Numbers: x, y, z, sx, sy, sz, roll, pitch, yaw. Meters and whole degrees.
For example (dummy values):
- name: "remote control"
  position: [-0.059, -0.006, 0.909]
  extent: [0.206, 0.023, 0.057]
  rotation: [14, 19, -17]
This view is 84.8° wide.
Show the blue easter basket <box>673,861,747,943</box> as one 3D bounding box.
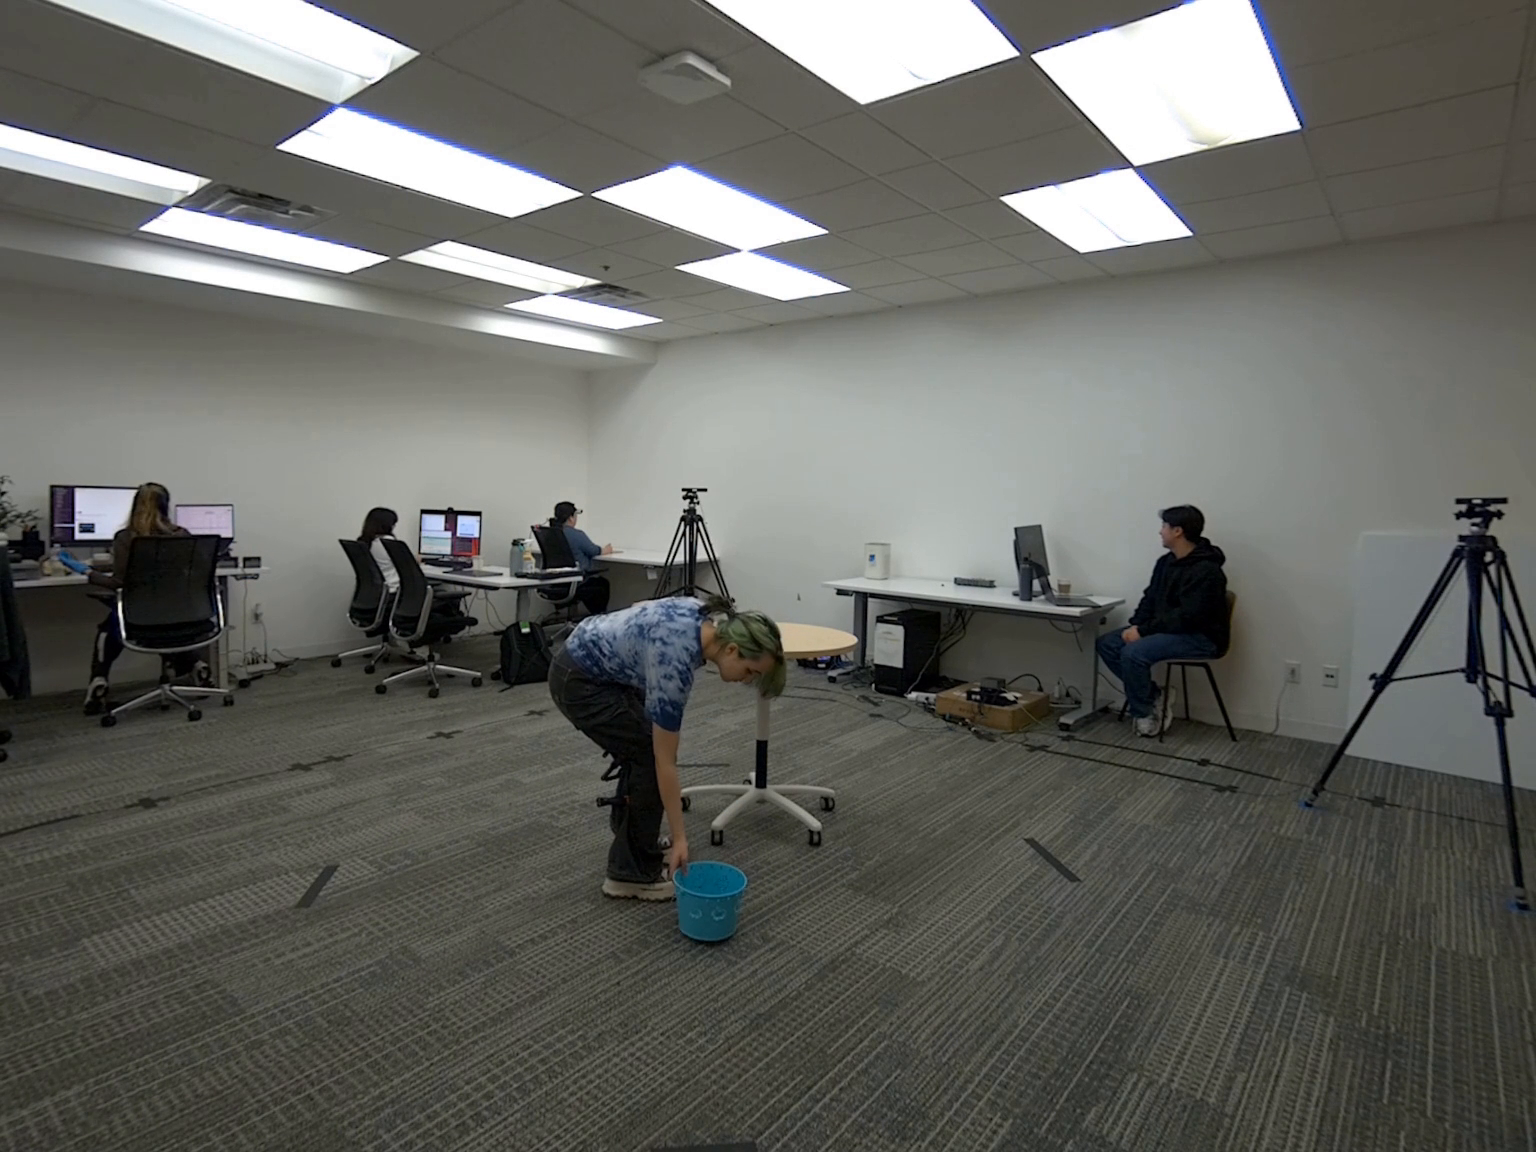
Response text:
- name: "blue easter basket"
  position: [-0.196, 1.008, 2.662]
  extent: [0.243, 0.155, 0.245]
  rotation: [2, 5, -2]
